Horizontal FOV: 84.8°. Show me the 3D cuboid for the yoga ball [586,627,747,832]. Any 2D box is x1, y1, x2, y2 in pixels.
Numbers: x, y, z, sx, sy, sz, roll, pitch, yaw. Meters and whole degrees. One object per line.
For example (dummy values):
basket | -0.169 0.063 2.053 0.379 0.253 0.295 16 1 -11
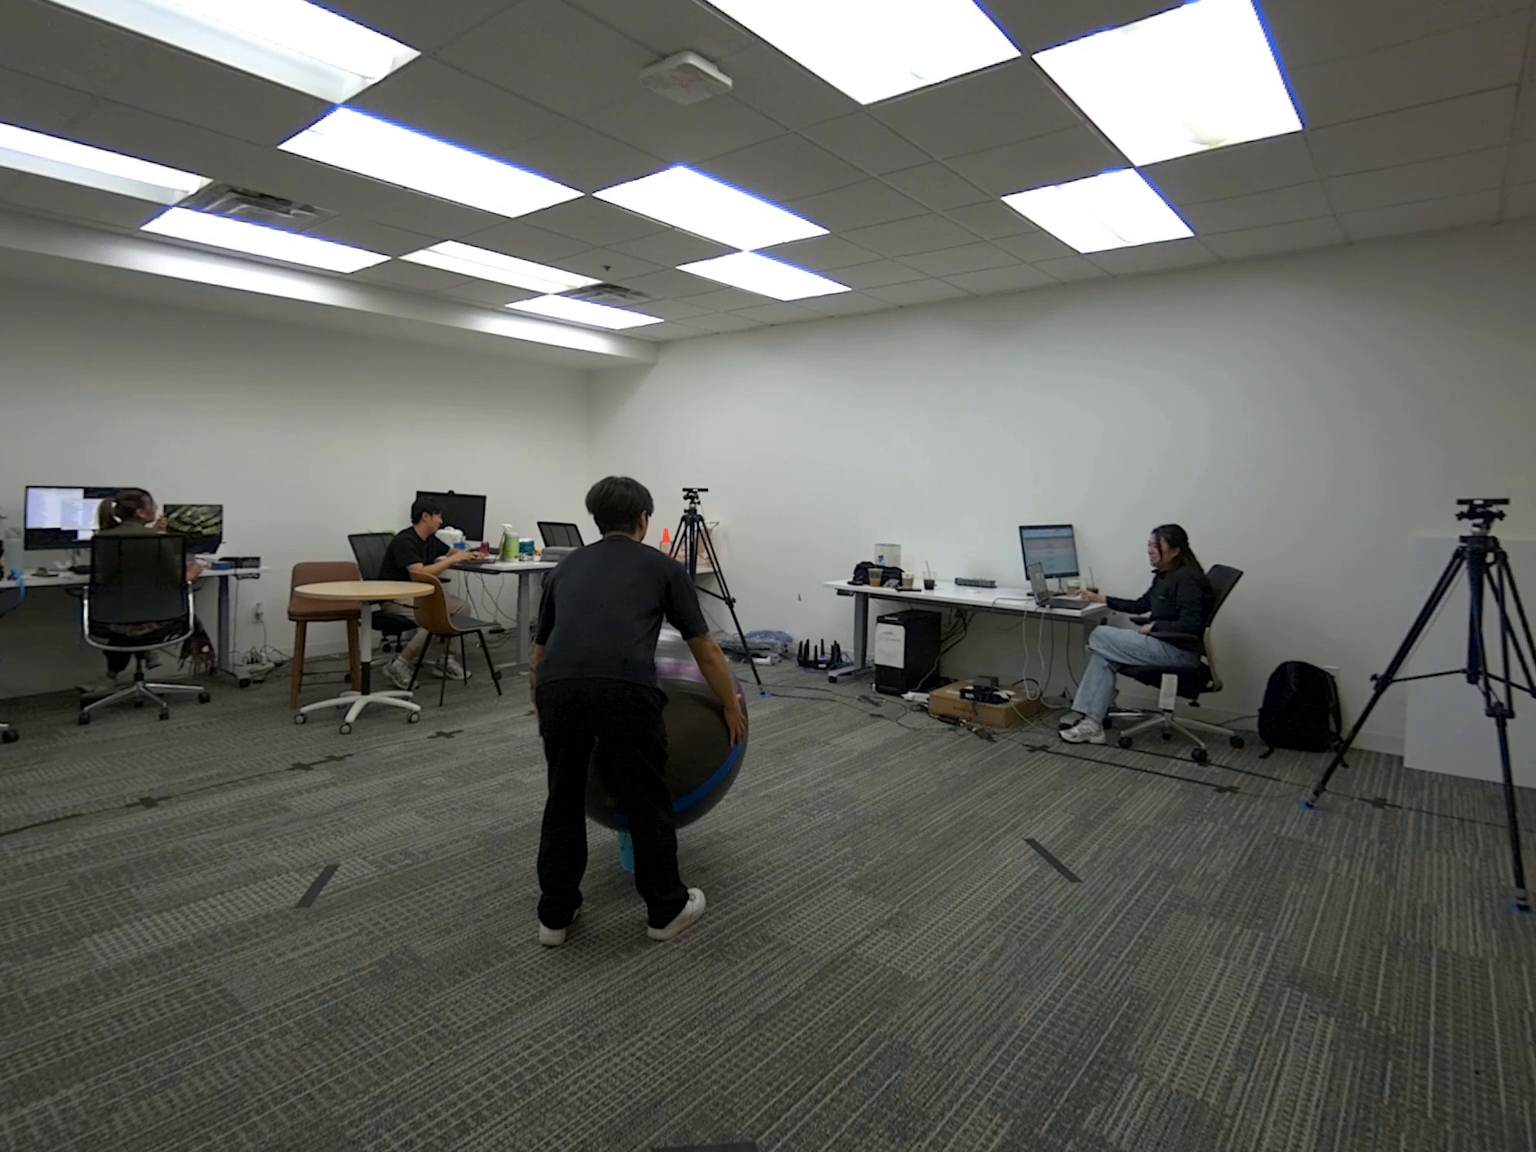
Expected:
yoga ball | -0.462 0.551 3.130 0.757 0.755 0.762 1 4 -2
